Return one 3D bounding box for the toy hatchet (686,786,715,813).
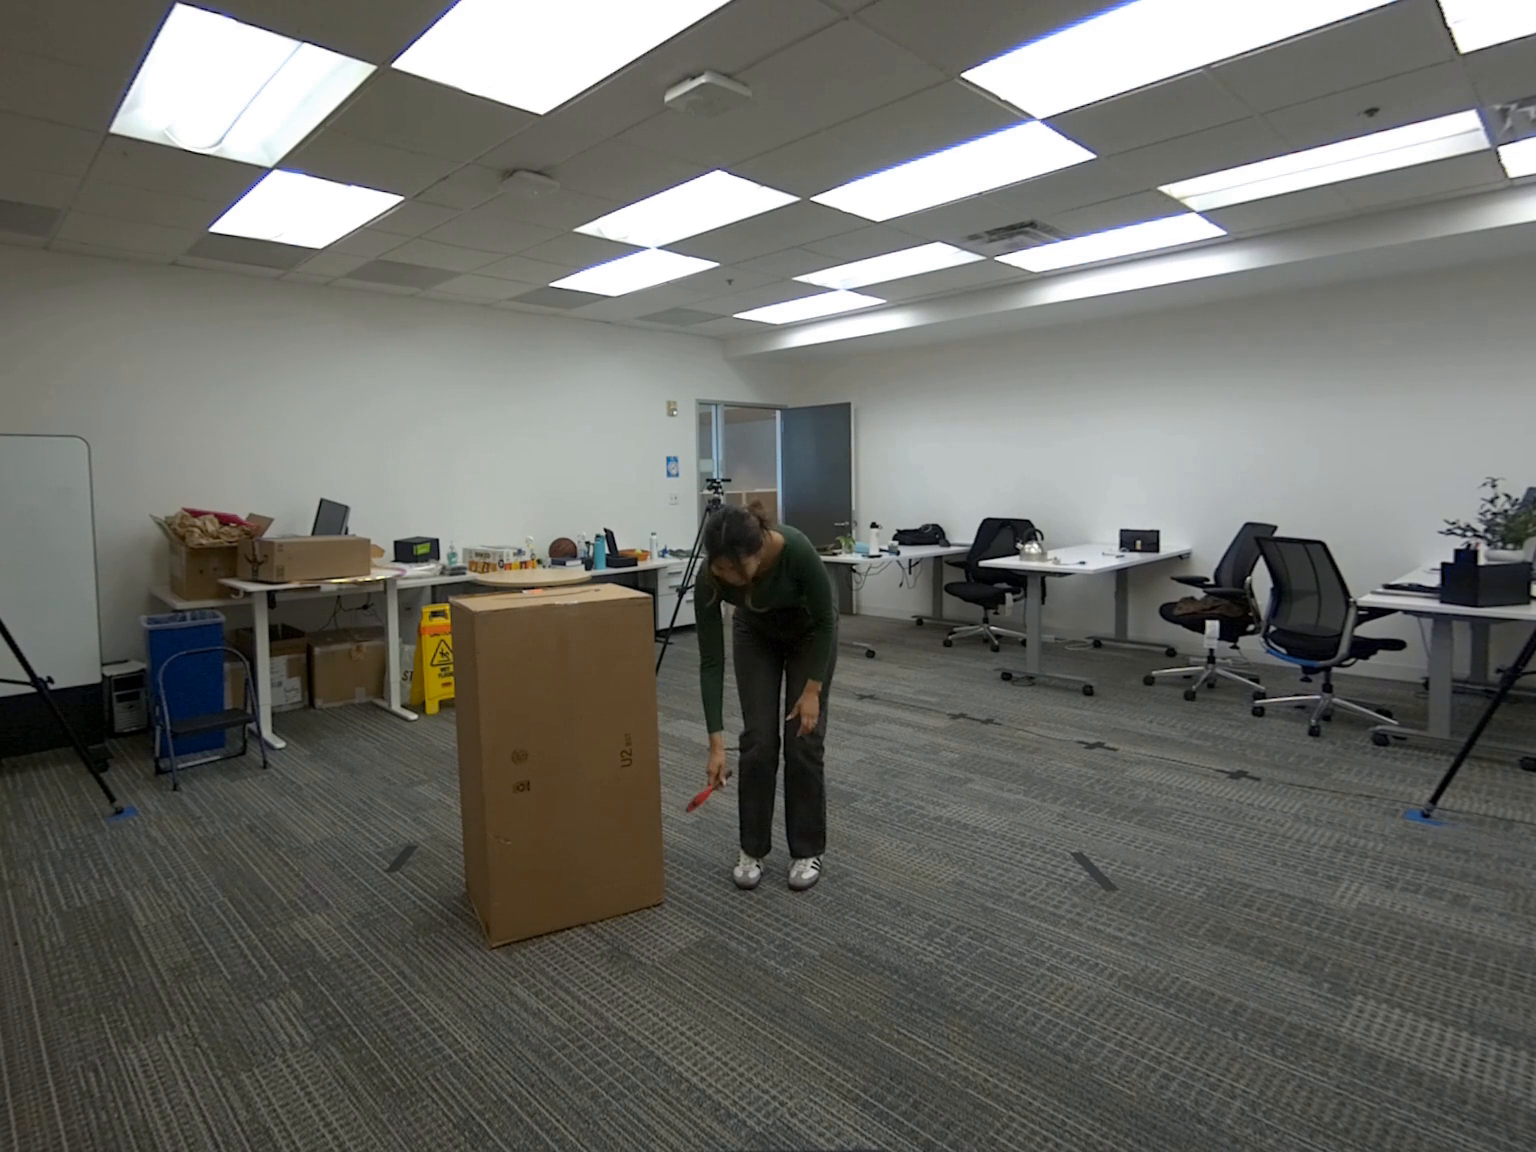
[{"bbox_3d":[-0.199,0.681,2.711,0.131,0.030,0.265,-43,-12,3],"label":"toy hatchet"}]
